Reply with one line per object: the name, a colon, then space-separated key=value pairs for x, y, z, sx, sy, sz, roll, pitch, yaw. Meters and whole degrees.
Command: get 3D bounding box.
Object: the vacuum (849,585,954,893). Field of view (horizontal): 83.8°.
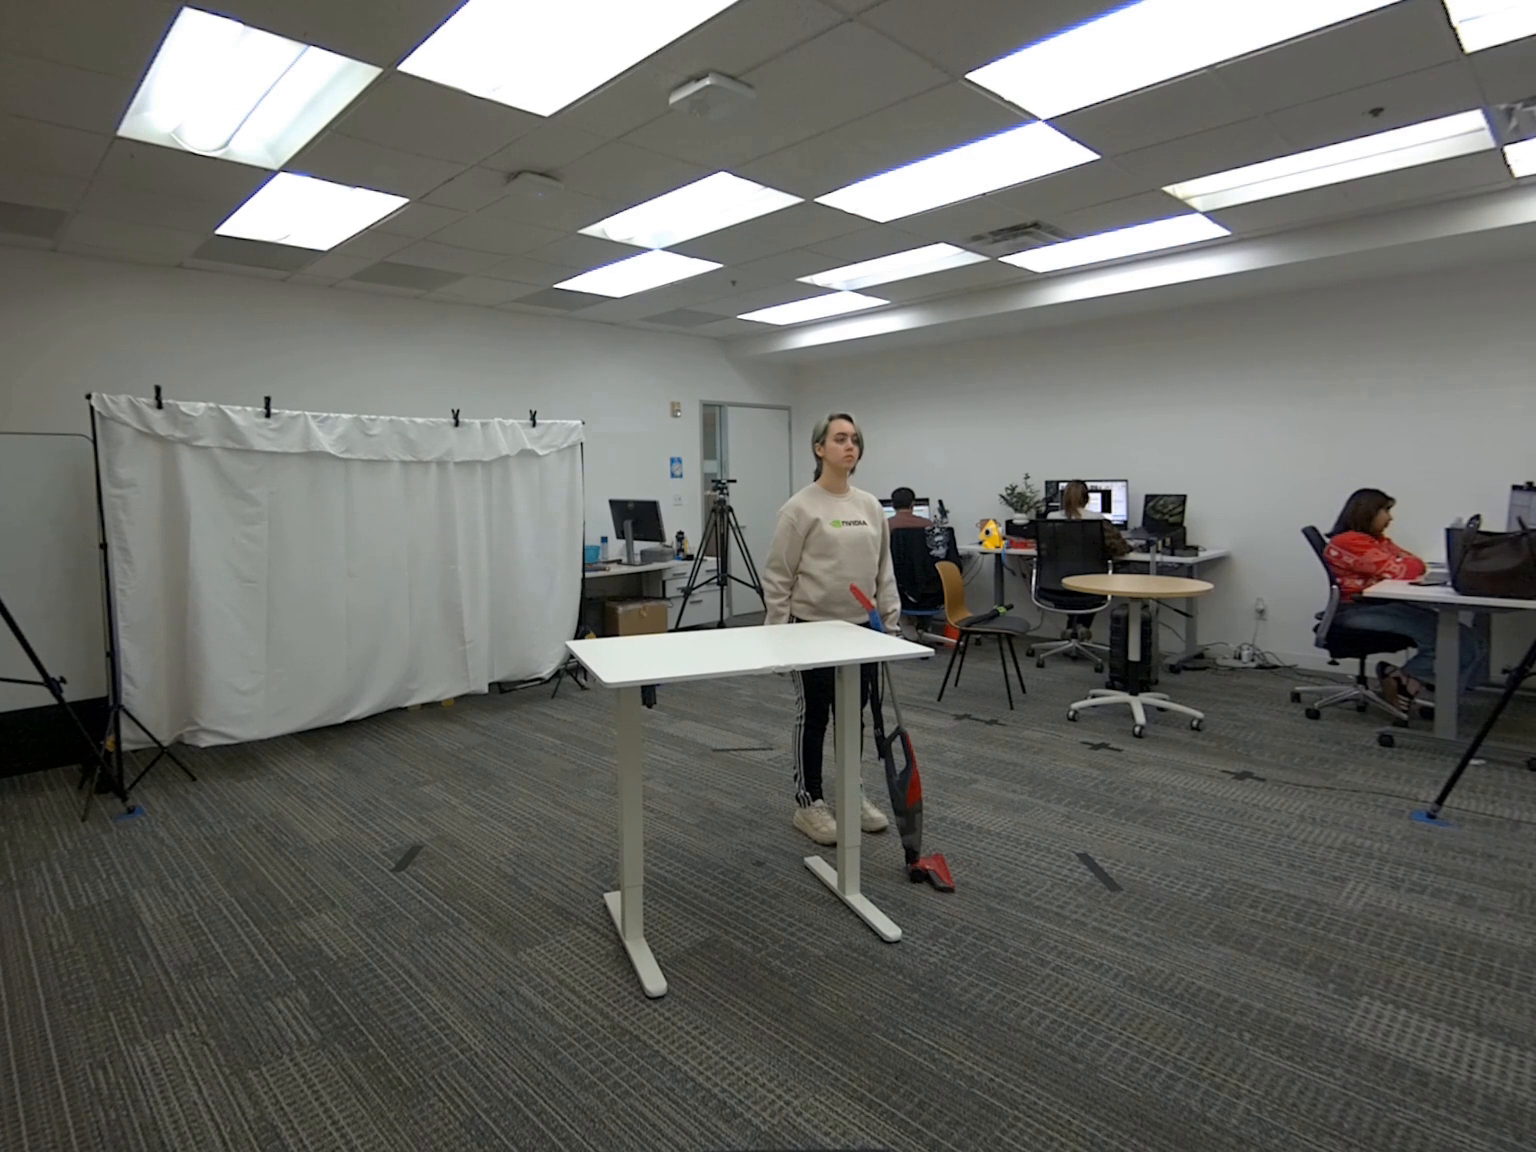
vacuum: x=0.433 y=0.552 z=2.982 sx=0.144 sy=1.049 sz=0.252 roll=-15 pitch=1 yaw=5
